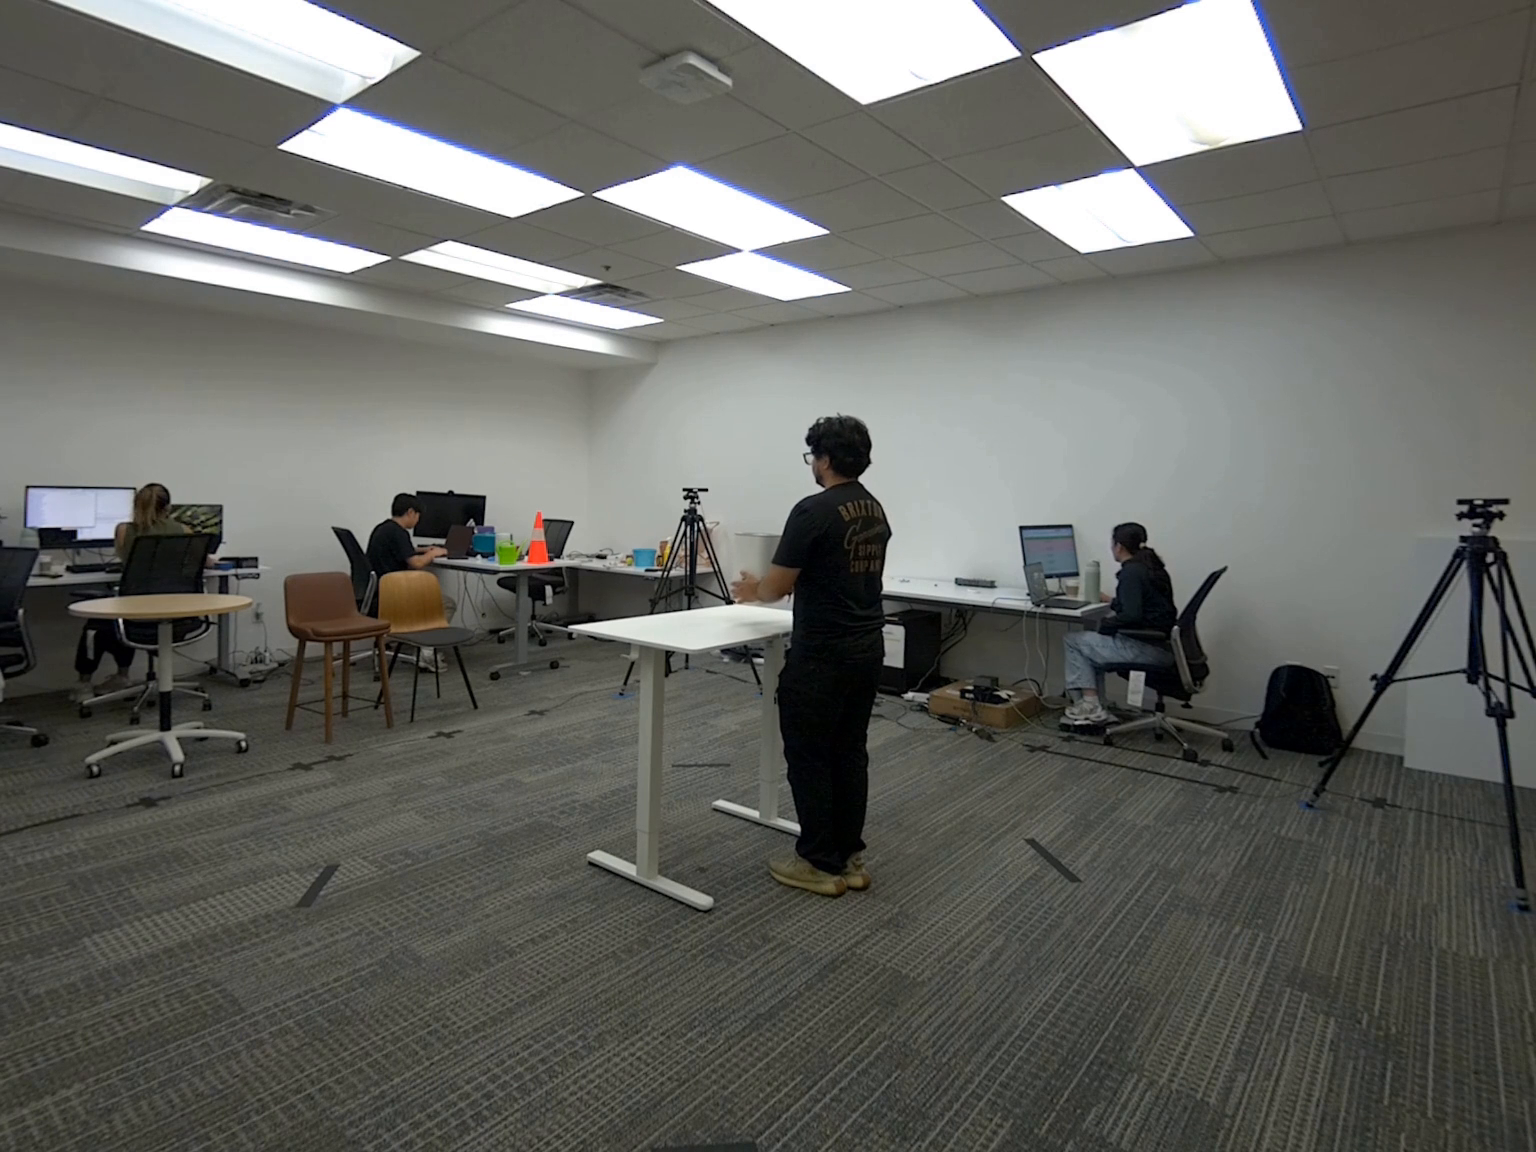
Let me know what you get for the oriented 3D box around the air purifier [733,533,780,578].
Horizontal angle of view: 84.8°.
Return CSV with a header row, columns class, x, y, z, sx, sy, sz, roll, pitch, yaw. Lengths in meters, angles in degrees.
class,x,y,z,sx,sy,sz,roll,pitch,yaw
air purifier,-0.043,-0.033,3.249,0.177,0.265,0.166,5,4,36
